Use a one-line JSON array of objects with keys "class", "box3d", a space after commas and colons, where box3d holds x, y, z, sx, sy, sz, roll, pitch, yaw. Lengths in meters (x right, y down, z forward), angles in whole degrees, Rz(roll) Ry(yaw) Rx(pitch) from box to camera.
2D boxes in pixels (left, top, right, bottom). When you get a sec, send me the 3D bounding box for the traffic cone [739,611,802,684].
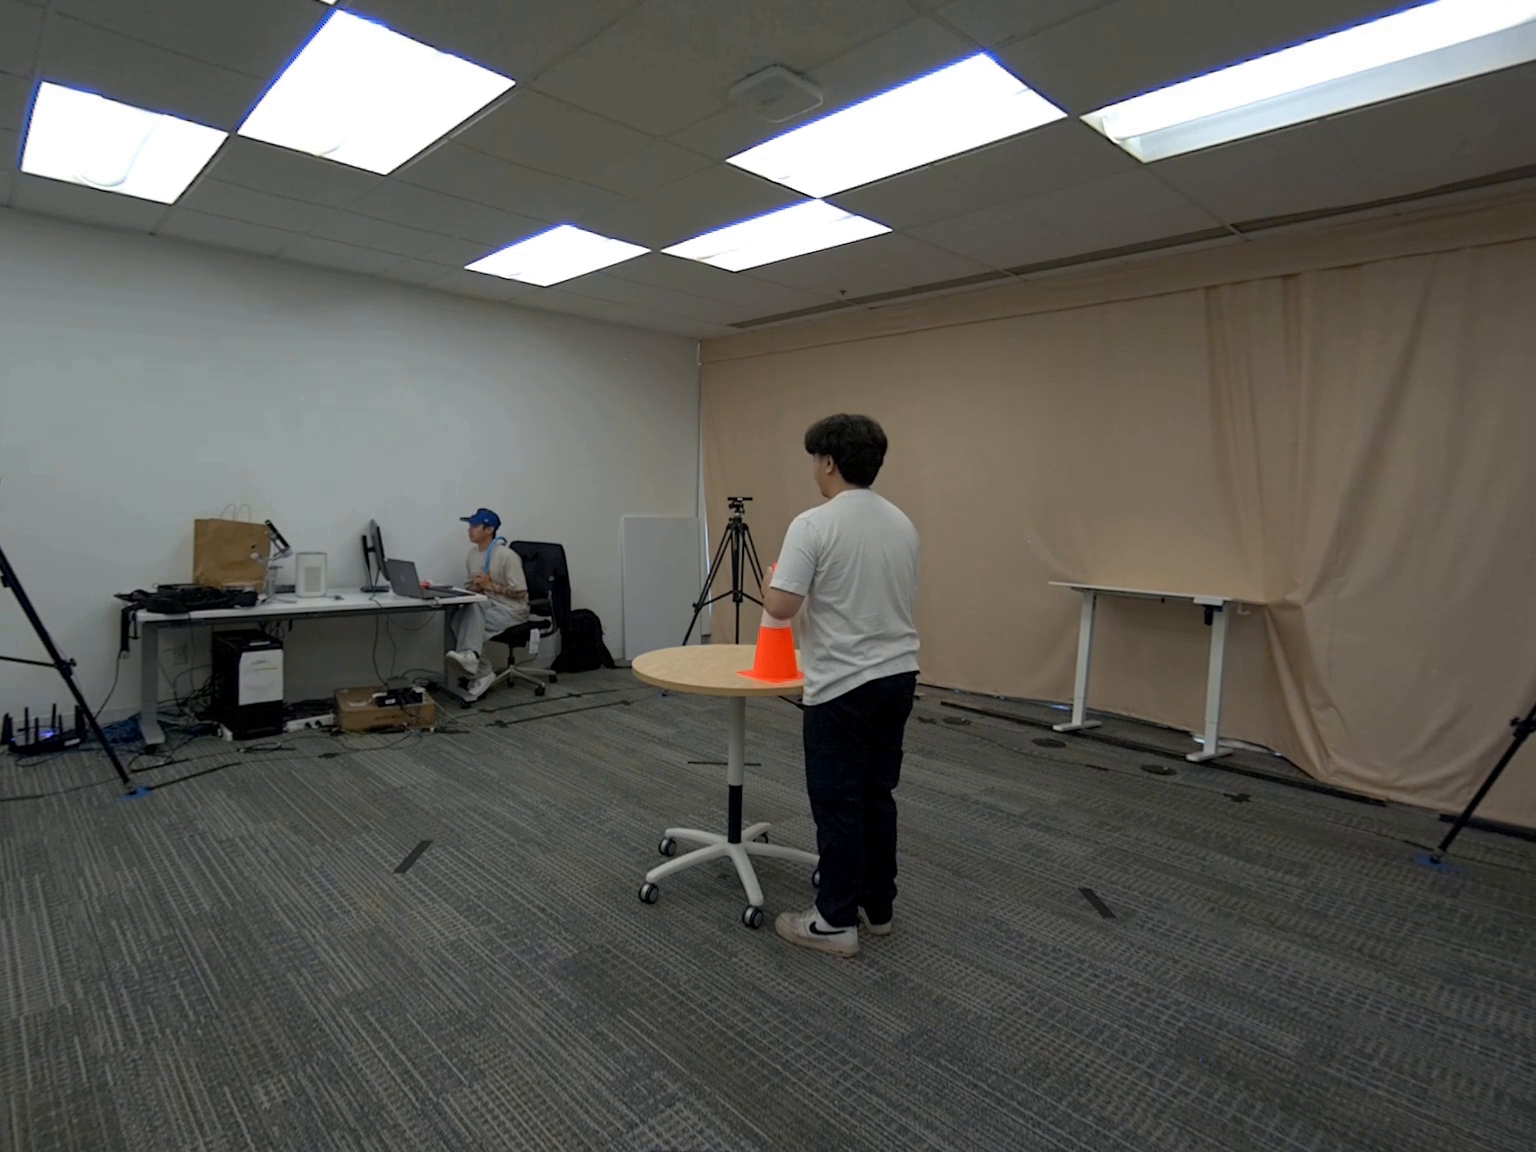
[{"class": "traffic cone", "box3d": [0.031, 0.152, 2.859, 0.208, 0.382, 0.201, 7, 6, 30]}]
